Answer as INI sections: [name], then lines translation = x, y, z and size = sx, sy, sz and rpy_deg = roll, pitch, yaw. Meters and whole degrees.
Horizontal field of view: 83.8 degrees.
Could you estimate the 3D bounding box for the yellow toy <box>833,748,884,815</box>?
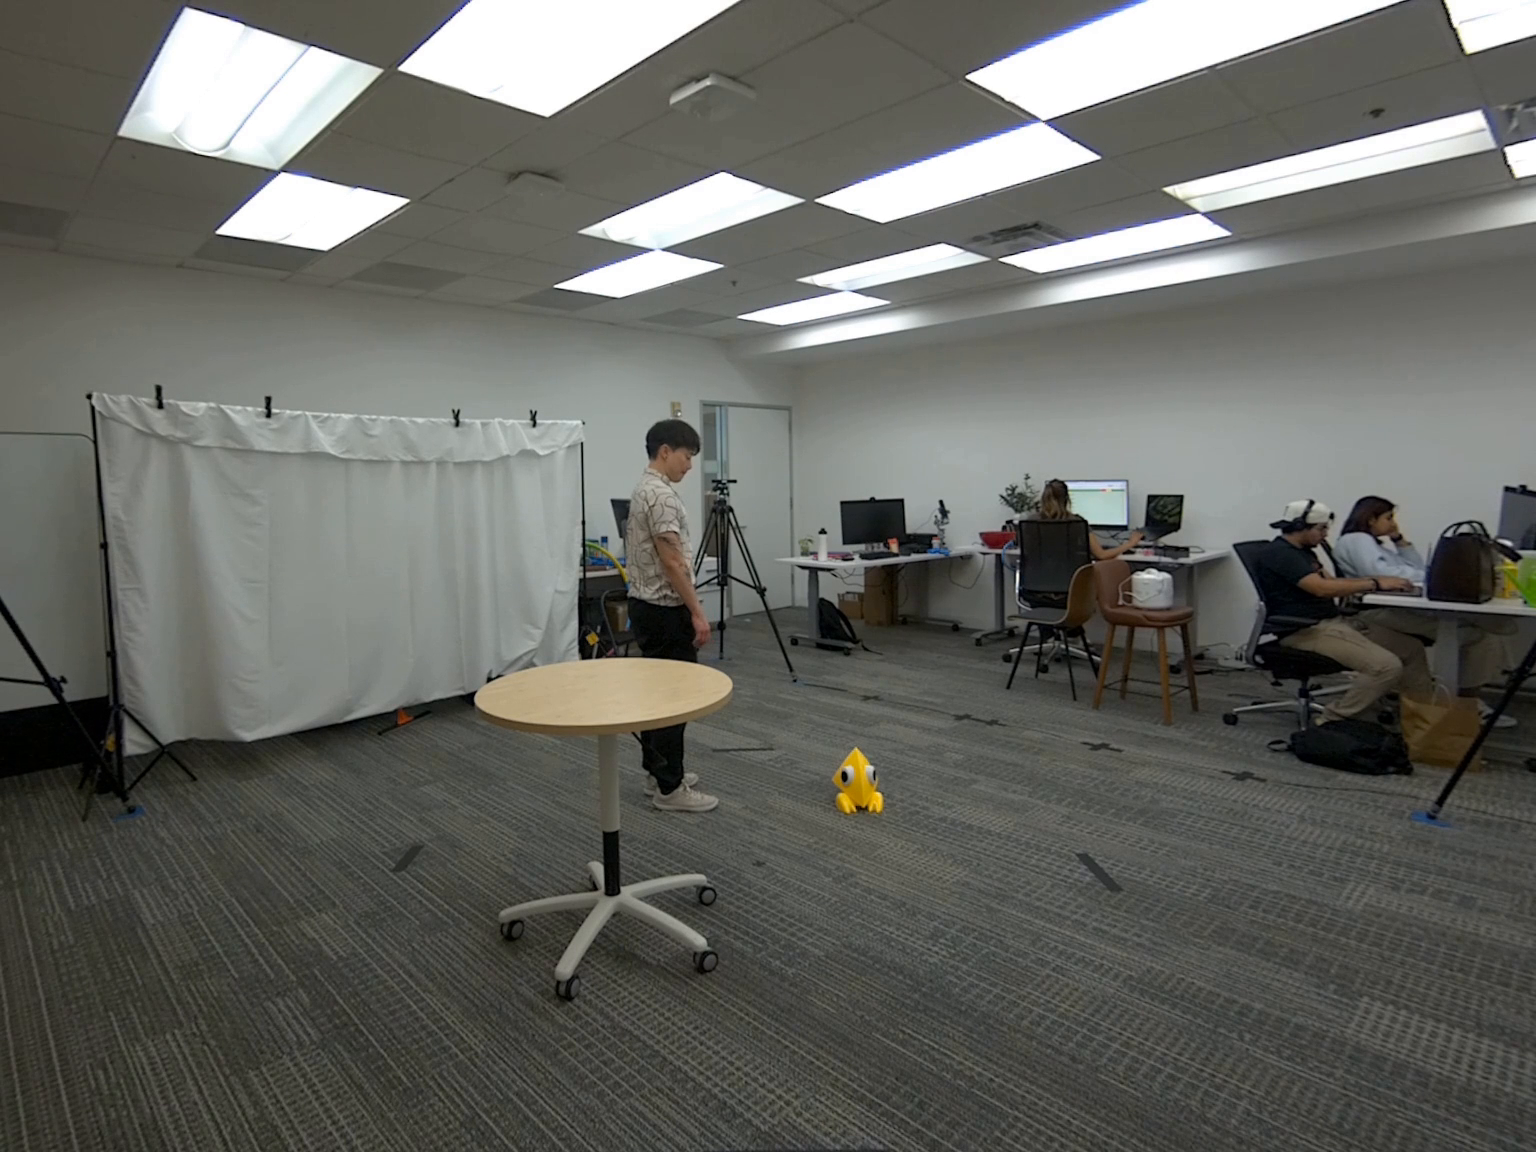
[yellow toy]
translation = 0.393, 0.867, 3.650
size = 0.204, 0.230, 0.194
rpy_deg = -2, 4, -4
